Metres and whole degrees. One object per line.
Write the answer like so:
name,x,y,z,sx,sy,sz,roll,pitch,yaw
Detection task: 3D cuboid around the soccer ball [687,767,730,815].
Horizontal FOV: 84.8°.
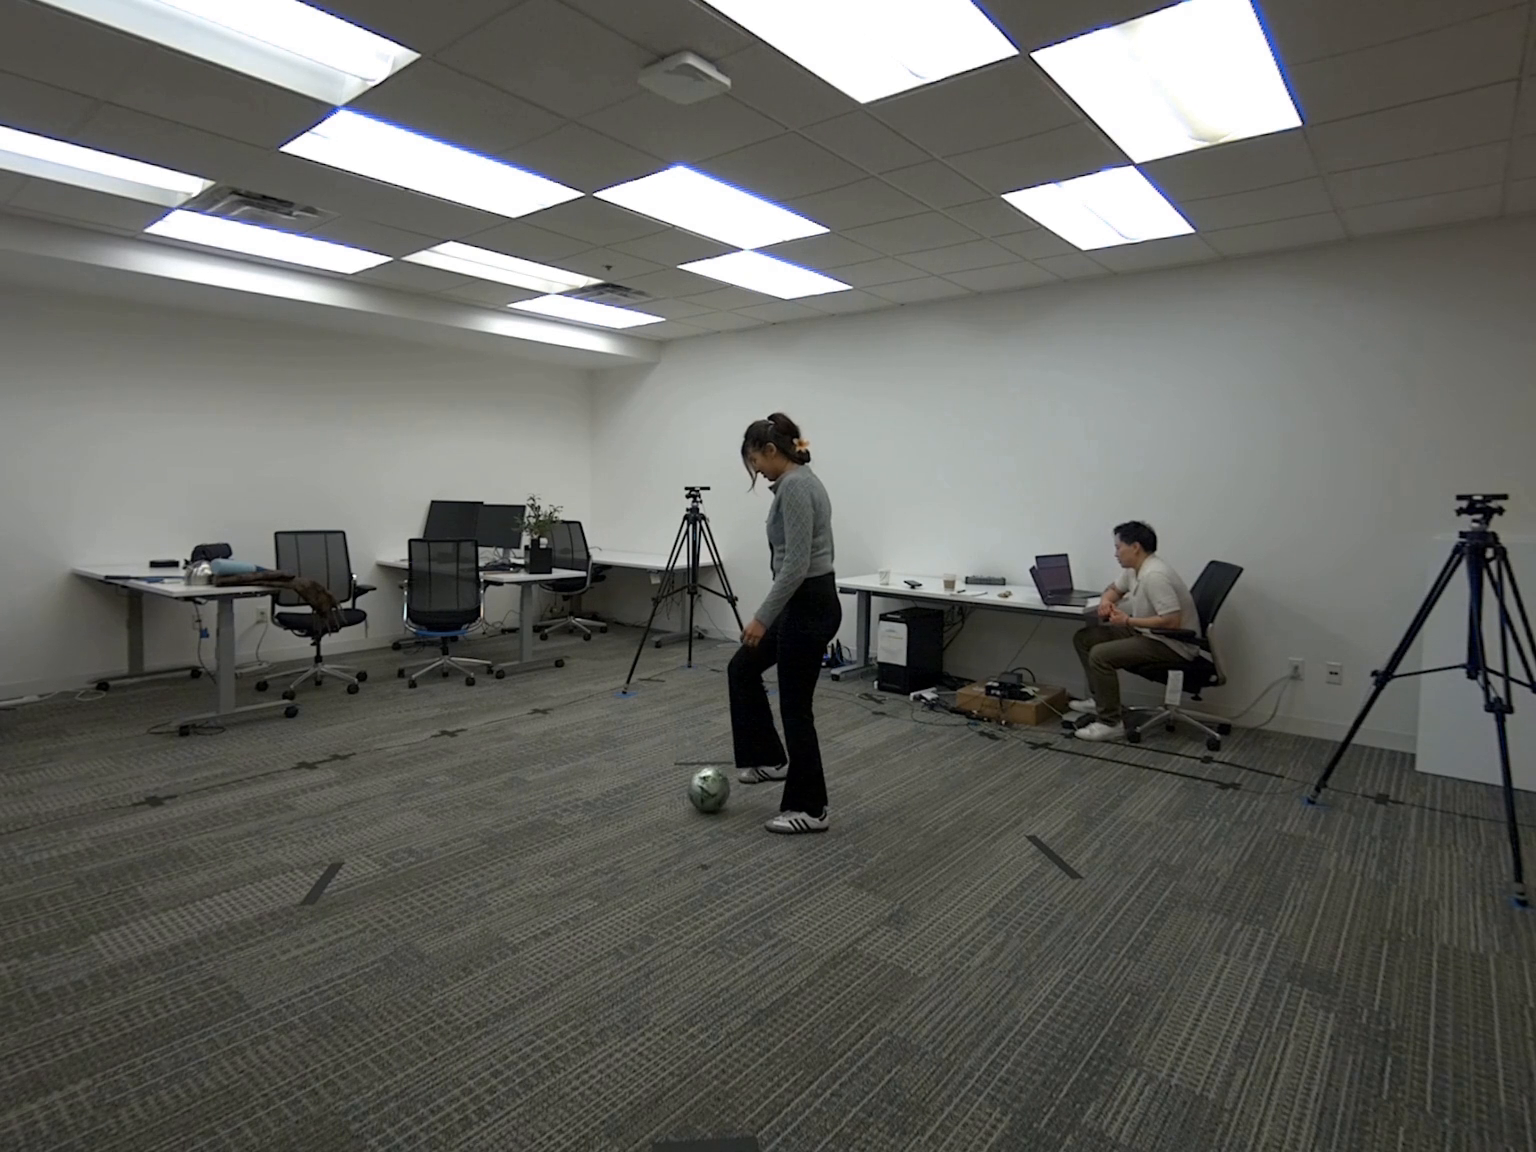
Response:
soccer ball,-0.266,0.919,3.667,0.187,0.187,0.188,1,4,-2
